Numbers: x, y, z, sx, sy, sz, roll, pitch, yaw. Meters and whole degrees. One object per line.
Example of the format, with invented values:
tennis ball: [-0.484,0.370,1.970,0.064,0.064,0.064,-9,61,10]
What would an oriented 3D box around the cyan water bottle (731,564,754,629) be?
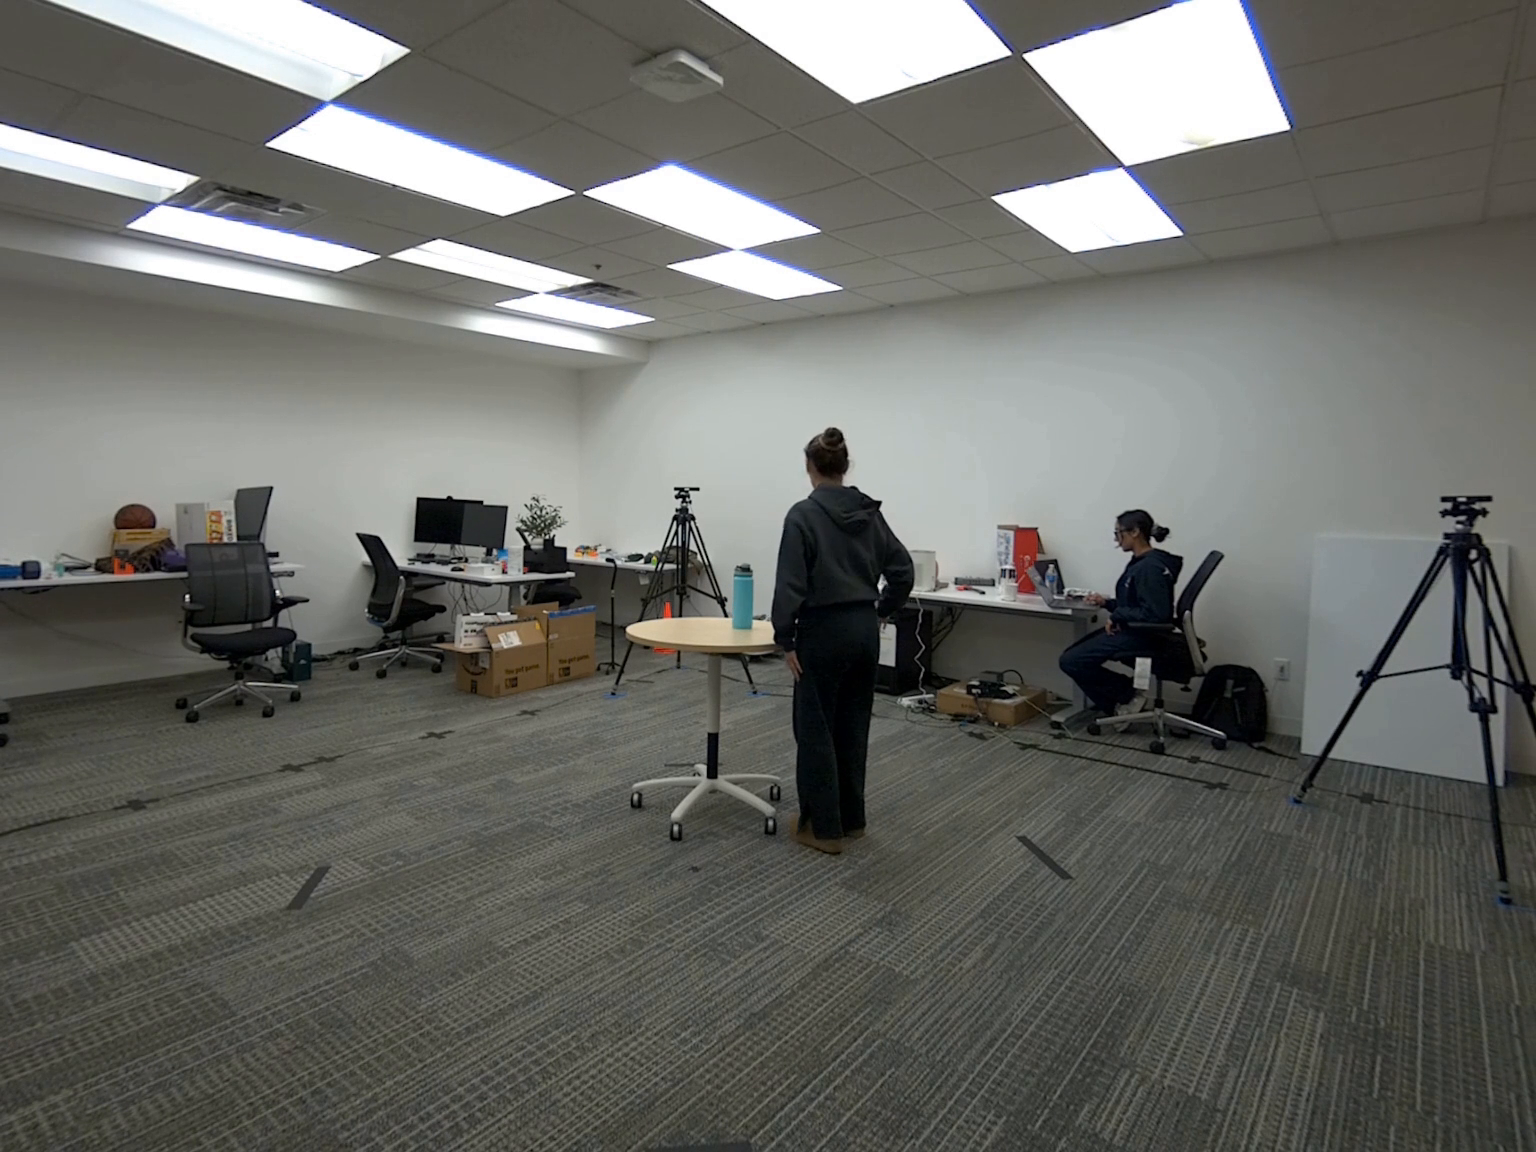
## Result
cyan water bottle: [-0.117,0.083,3.746,0.092,0.283,0.092,2,2,-2]
